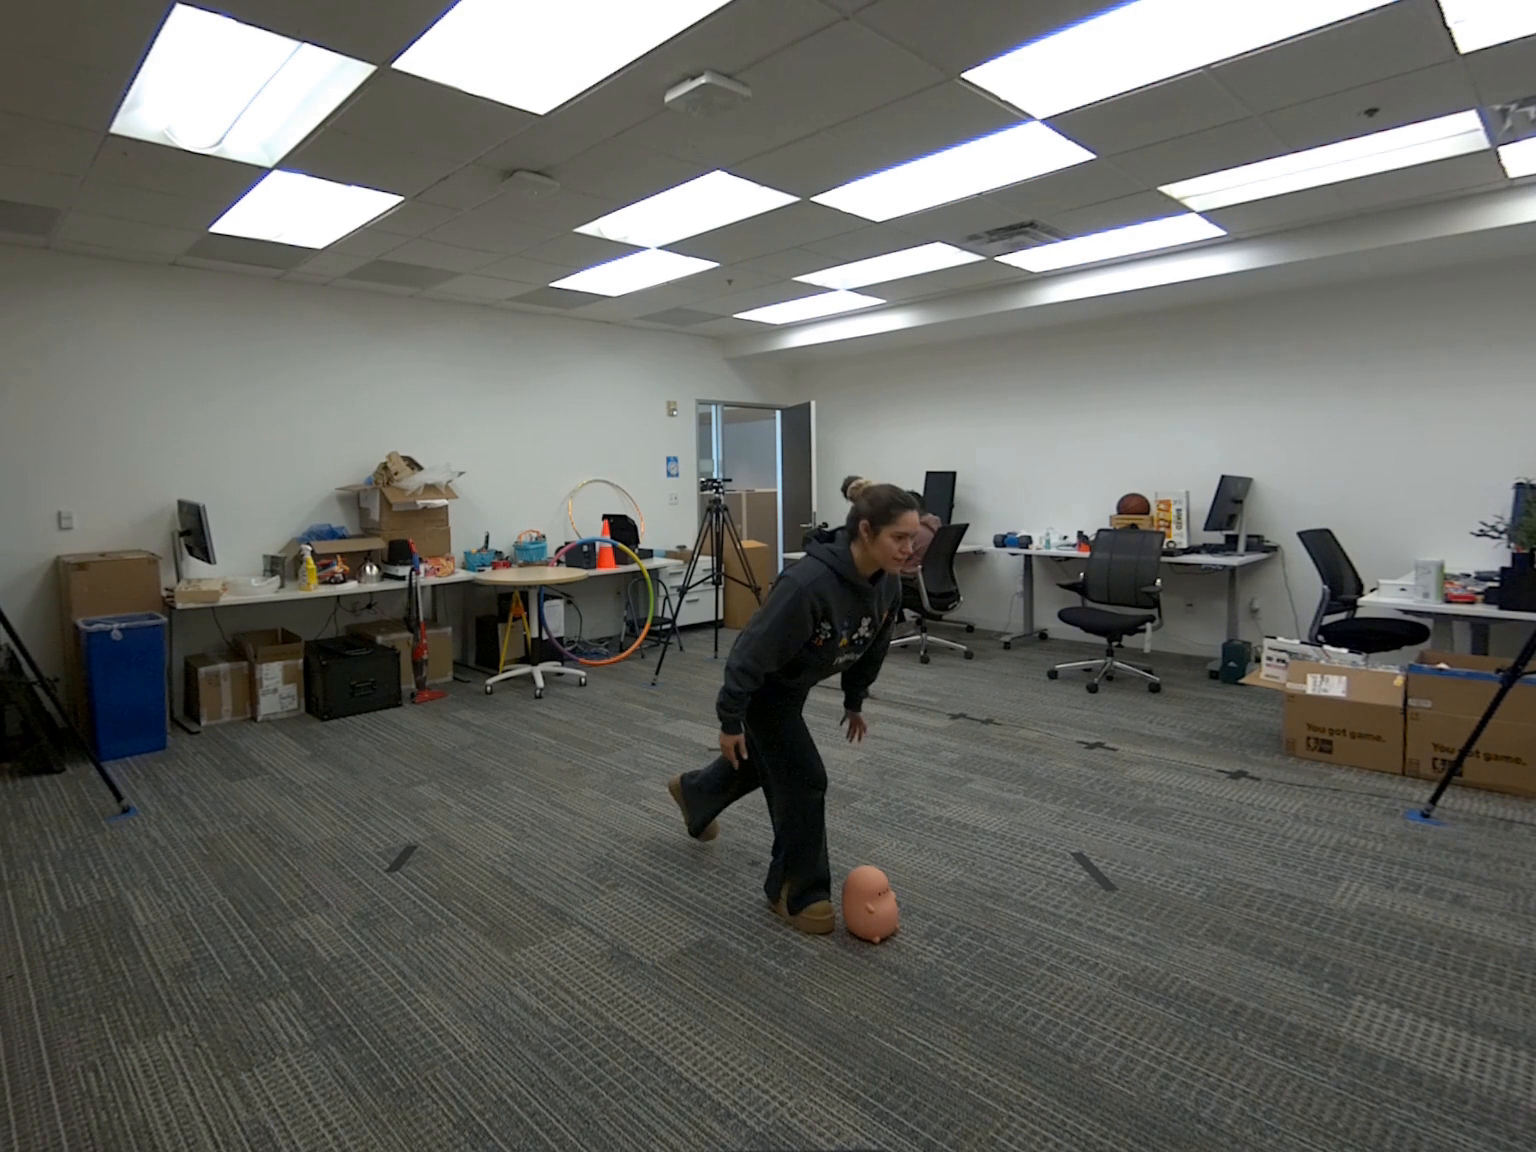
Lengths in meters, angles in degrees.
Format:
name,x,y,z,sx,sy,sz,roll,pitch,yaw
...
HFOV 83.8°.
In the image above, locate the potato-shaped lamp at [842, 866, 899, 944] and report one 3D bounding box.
name,x,y,z,sx,sy,sz,roll,pitch,yaw
potato-shaped lamp,0.311,0.992,2.608,0.176,0.197,0.160,3,6,45
